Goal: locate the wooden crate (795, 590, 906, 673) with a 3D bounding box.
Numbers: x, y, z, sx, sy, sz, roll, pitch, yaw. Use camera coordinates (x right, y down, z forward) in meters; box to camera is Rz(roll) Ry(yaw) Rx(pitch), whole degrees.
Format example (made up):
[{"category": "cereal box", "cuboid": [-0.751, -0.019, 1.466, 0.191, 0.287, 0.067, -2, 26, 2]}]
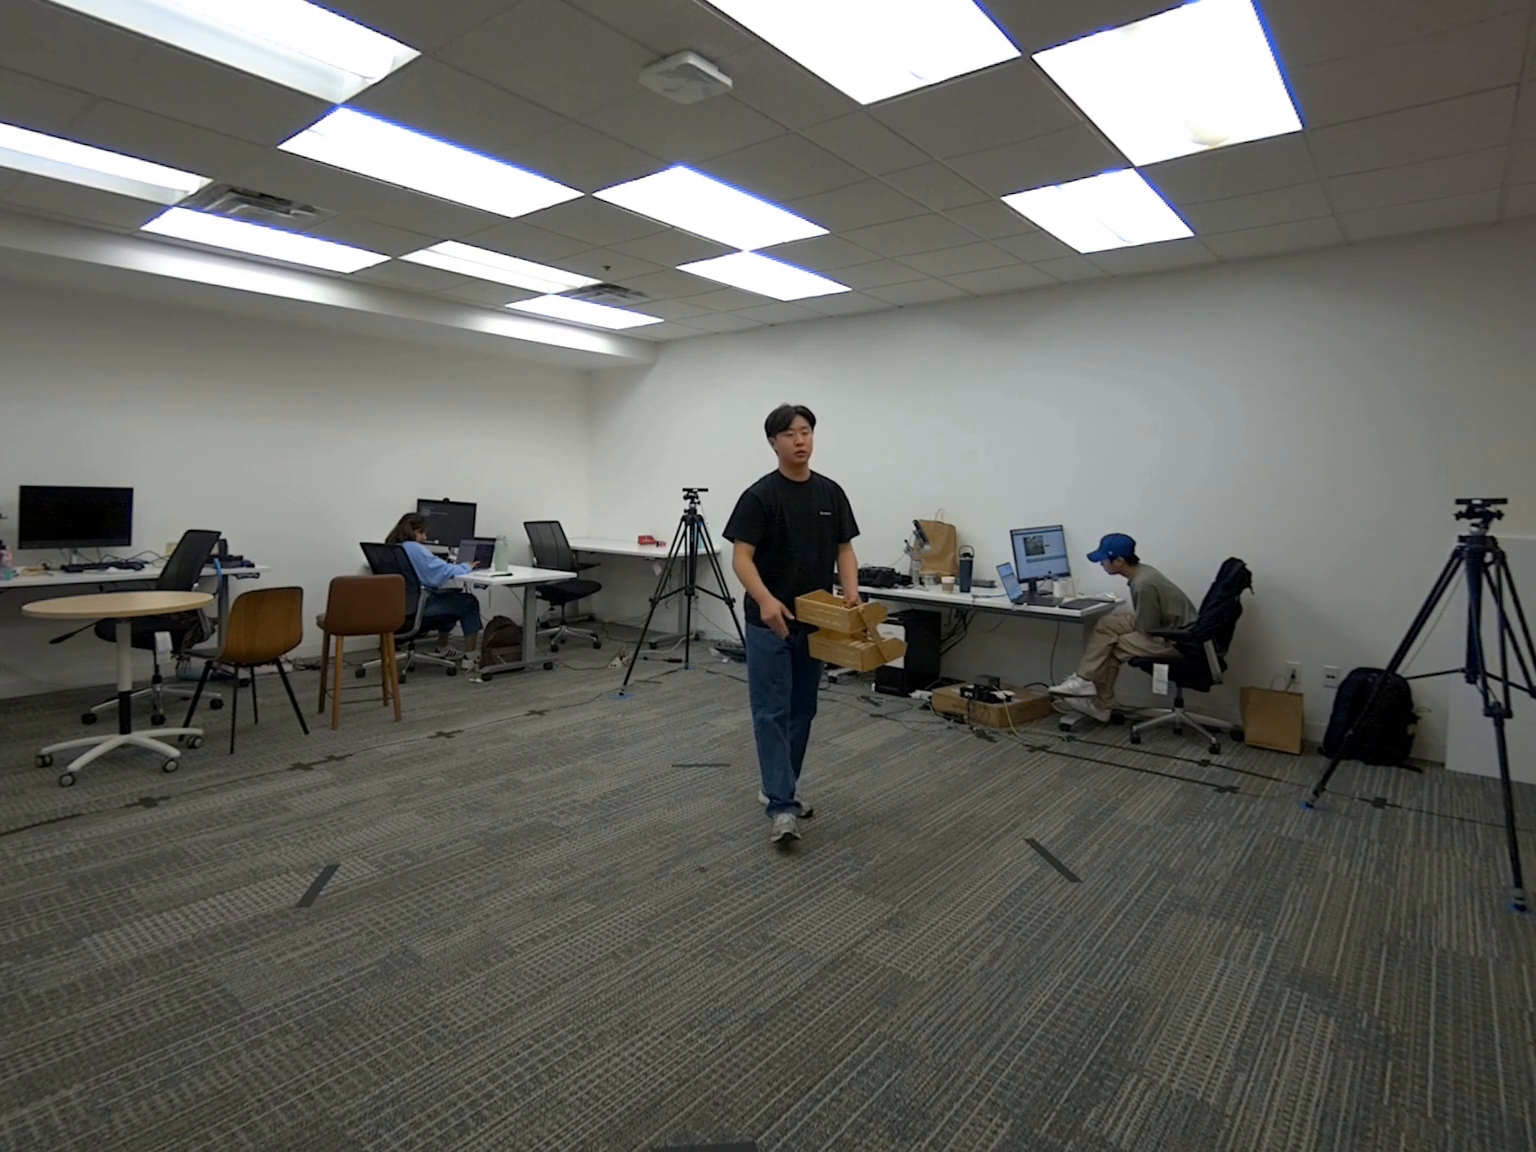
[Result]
[{"category": "wooden crate", "cuboid": [0.327, 0.183, 3.365, 0.295, 0.270, 0.336, -16, 16, -35]}]
